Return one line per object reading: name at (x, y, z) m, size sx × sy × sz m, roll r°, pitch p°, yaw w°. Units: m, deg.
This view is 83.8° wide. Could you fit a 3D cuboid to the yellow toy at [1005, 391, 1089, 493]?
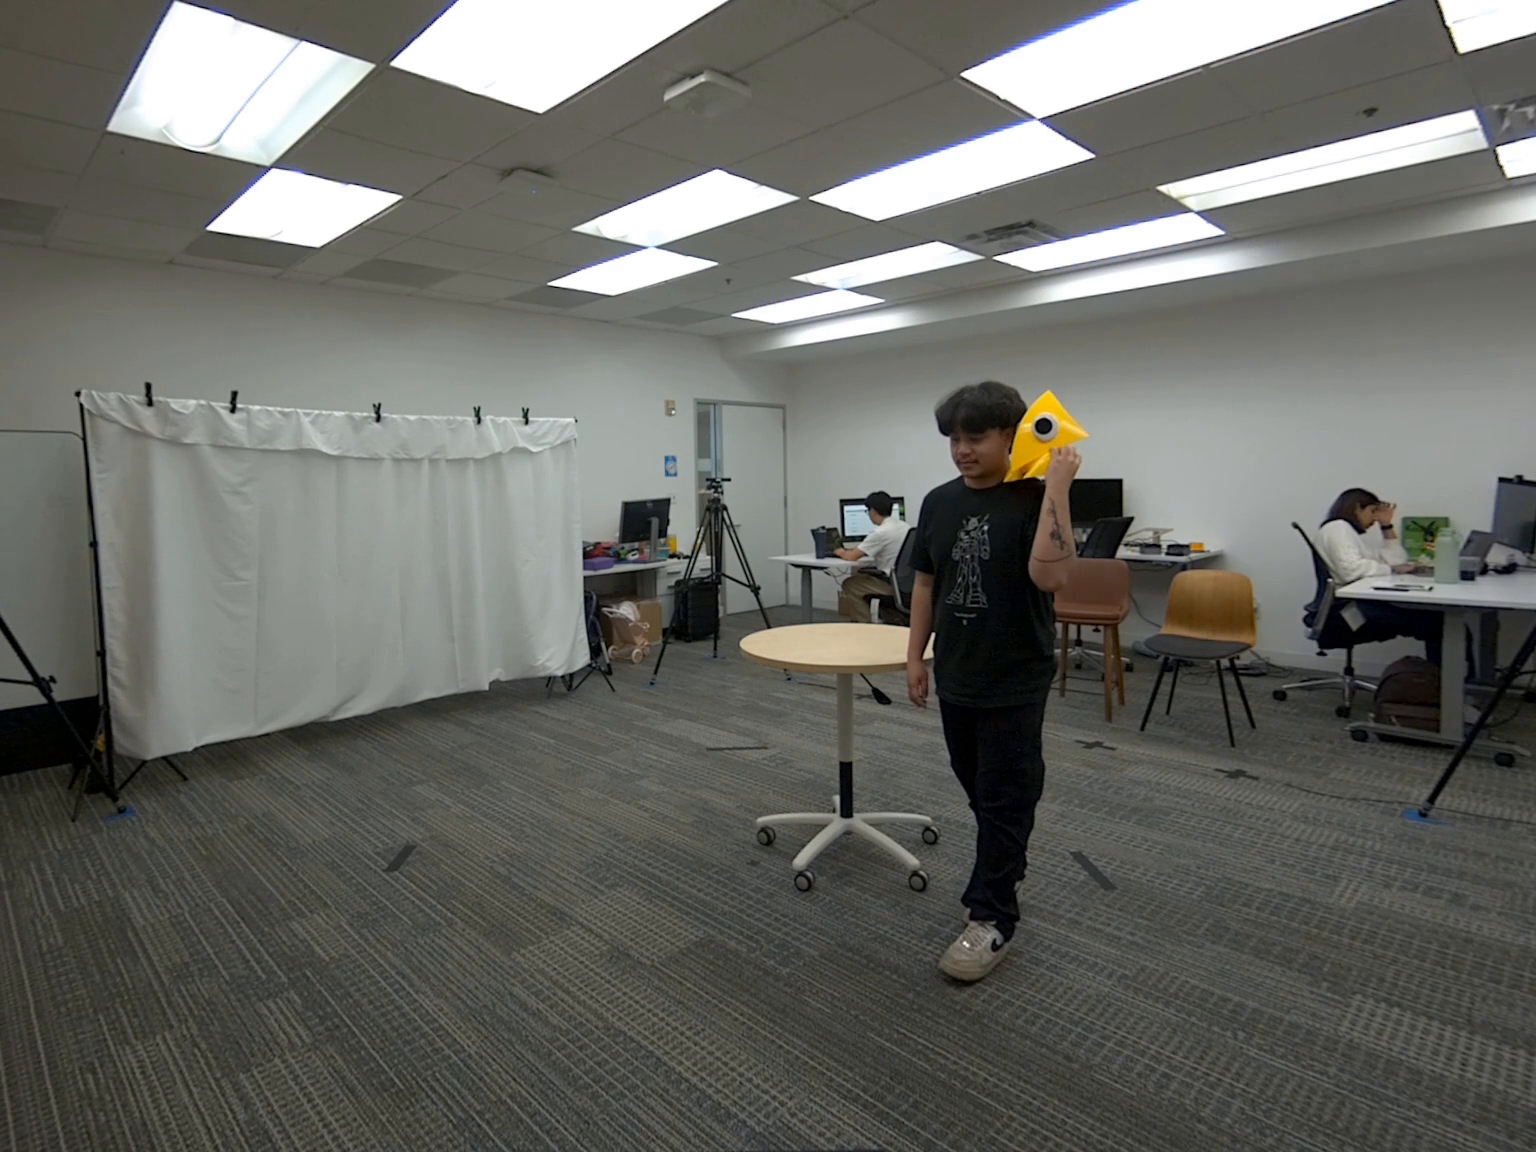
yellow toy at (0.748, -0.394, 2.388) m, size 0.191 × 0.230 × 0.206 m, roll -11°, pitch 2°, yaw -10°
